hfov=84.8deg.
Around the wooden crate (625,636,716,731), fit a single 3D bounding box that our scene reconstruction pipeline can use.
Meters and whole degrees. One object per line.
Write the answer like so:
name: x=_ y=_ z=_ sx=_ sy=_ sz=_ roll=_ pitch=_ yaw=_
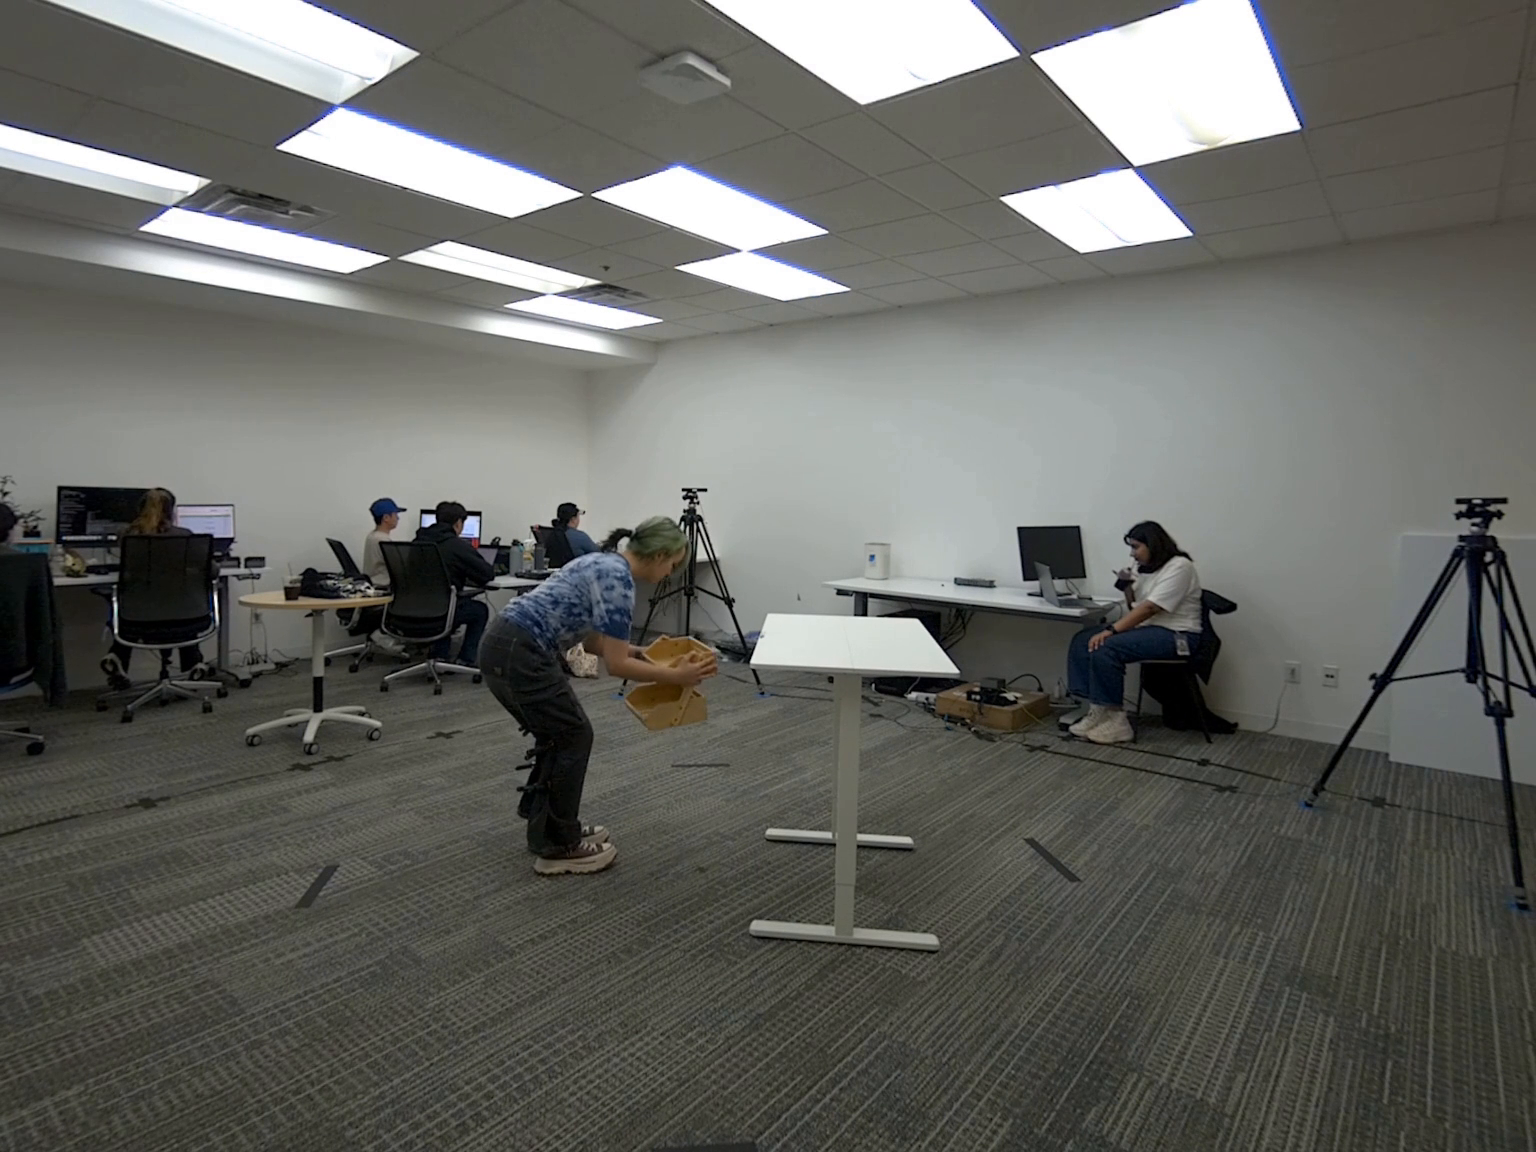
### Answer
wooden crate: x=-0.403 y=0.409 z=3.301 sx=0.296 sy=0.271 sz=0.333 roll=-5 pitch=8 yaw=-22
